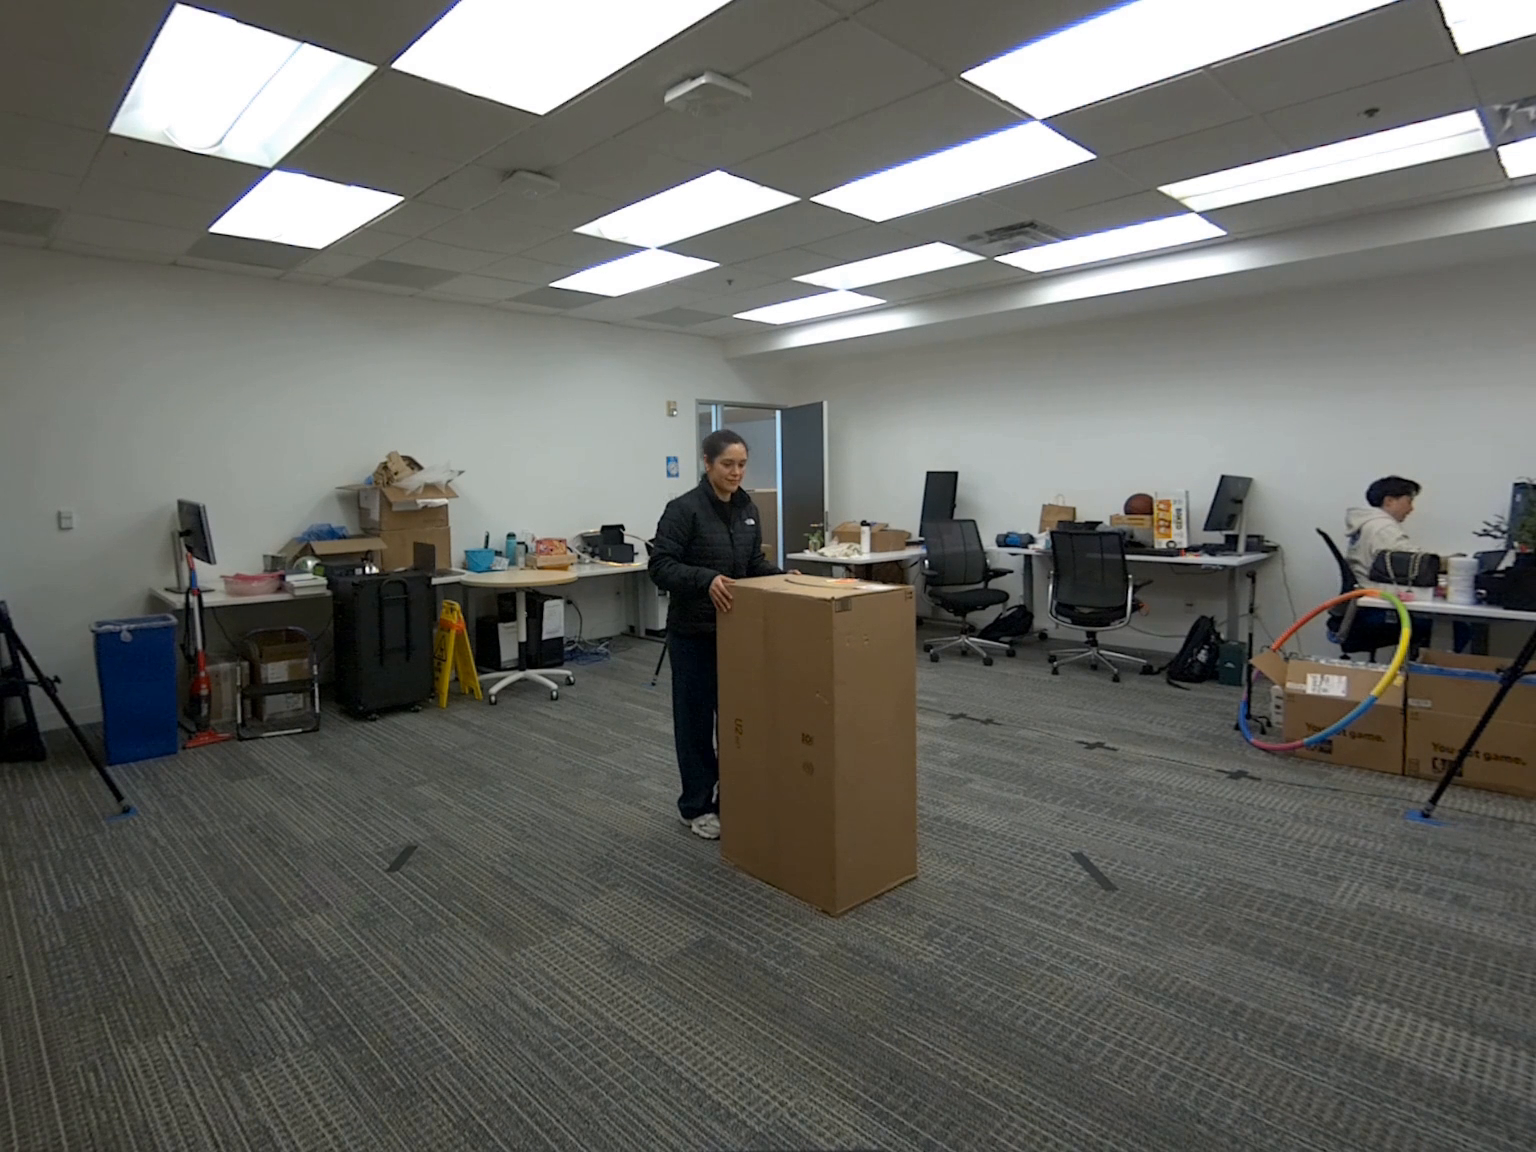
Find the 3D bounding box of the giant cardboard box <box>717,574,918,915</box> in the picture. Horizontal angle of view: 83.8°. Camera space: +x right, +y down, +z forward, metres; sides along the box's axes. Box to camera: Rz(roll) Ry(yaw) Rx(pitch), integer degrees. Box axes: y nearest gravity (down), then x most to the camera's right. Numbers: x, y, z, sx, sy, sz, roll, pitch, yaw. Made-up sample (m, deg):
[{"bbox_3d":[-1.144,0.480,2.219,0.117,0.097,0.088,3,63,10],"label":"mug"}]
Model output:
[{"bbox_3d":[0.172,0.540,3.042,0.415,1.023,0.595,-4,5,-42],"label":"giant cardboard box"}]
